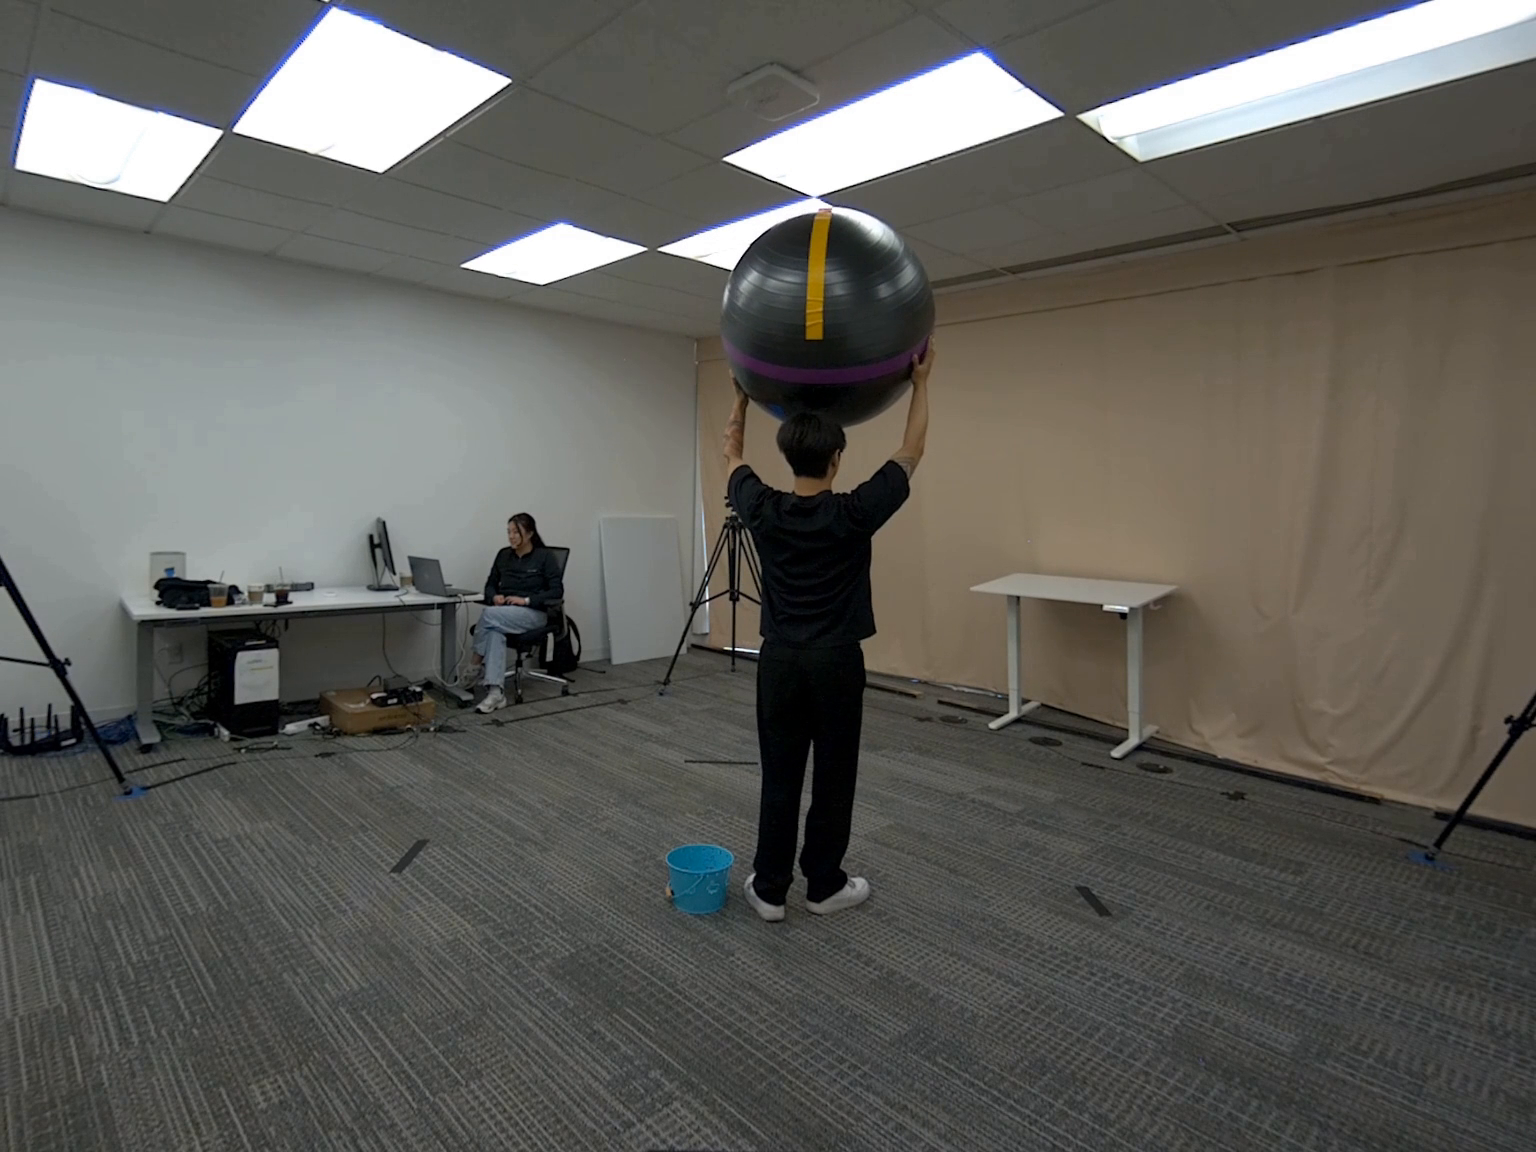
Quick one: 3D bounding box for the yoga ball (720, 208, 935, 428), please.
[{"bbox_3d":[0.209,-0.901,2.994,0.757,0.756,0.761,1,4,-1],"label":"yoga ball"}]
